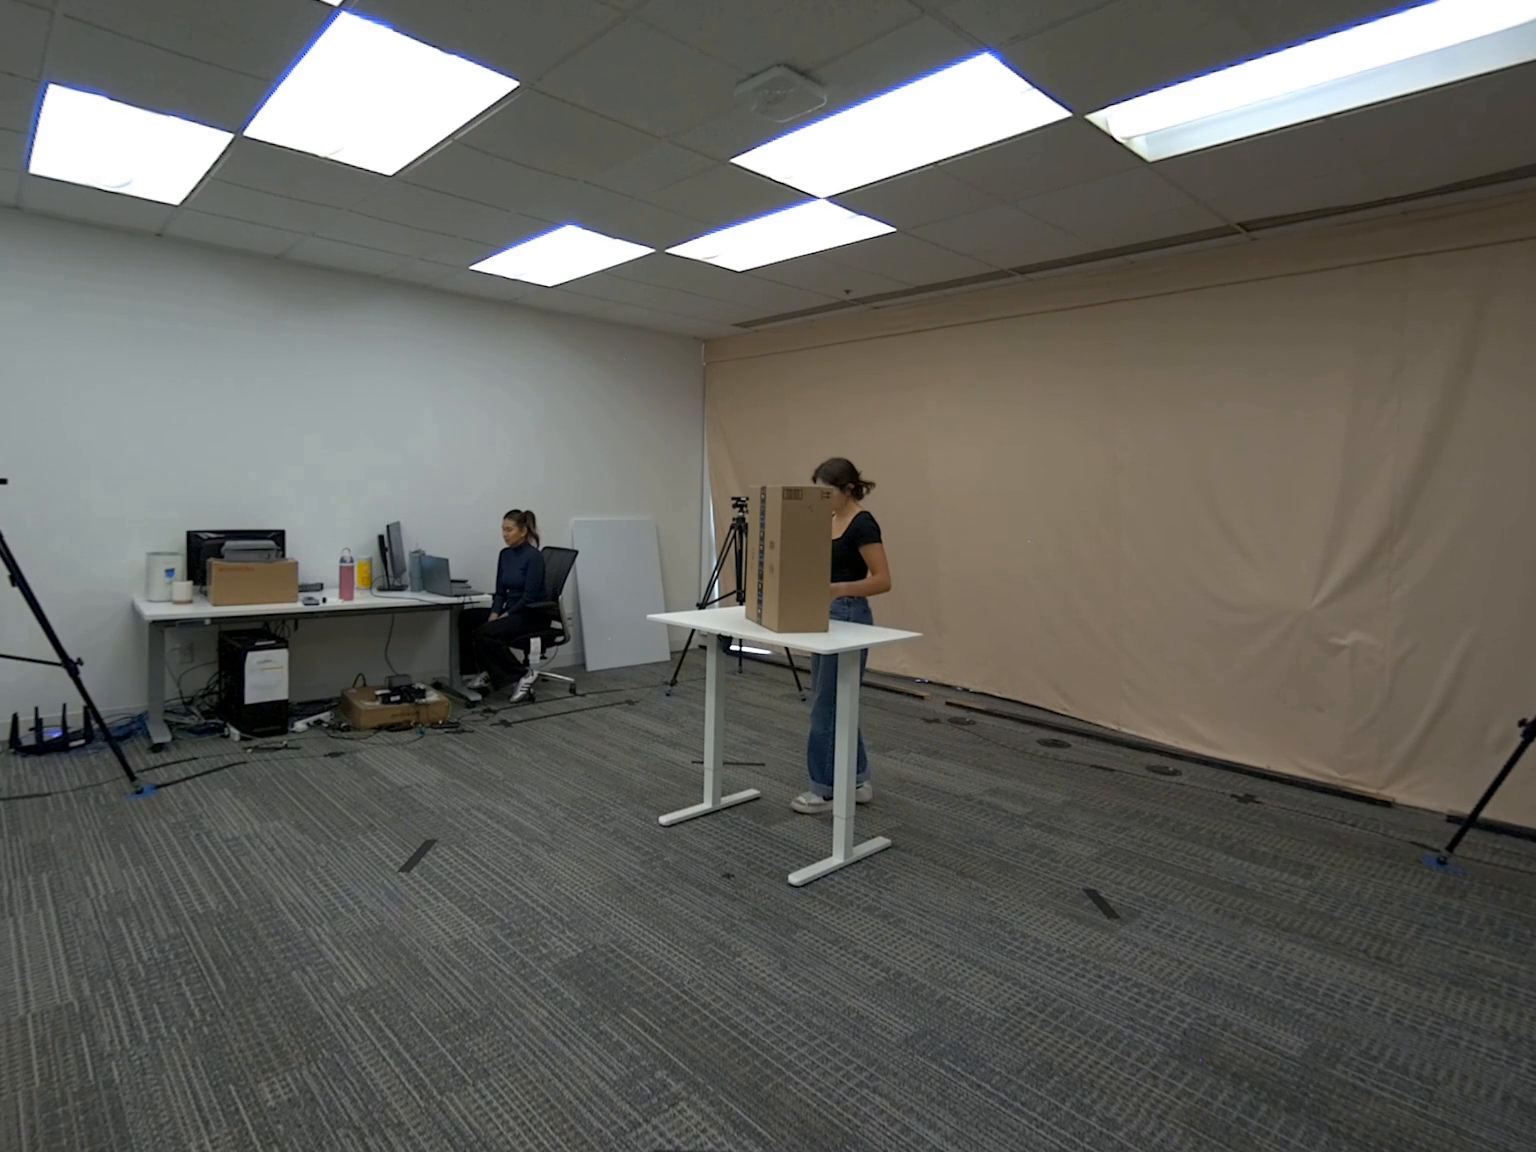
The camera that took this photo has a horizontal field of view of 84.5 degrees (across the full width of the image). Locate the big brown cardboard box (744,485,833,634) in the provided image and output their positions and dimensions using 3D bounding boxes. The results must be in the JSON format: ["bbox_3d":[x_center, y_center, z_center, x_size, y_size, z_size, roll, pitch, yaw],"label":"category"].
[{"bbox_3d":[0.071,-0.076,3.424,0.230,0.587,0.425,0,5,-18],"label":"big brown cardboard box"}]
